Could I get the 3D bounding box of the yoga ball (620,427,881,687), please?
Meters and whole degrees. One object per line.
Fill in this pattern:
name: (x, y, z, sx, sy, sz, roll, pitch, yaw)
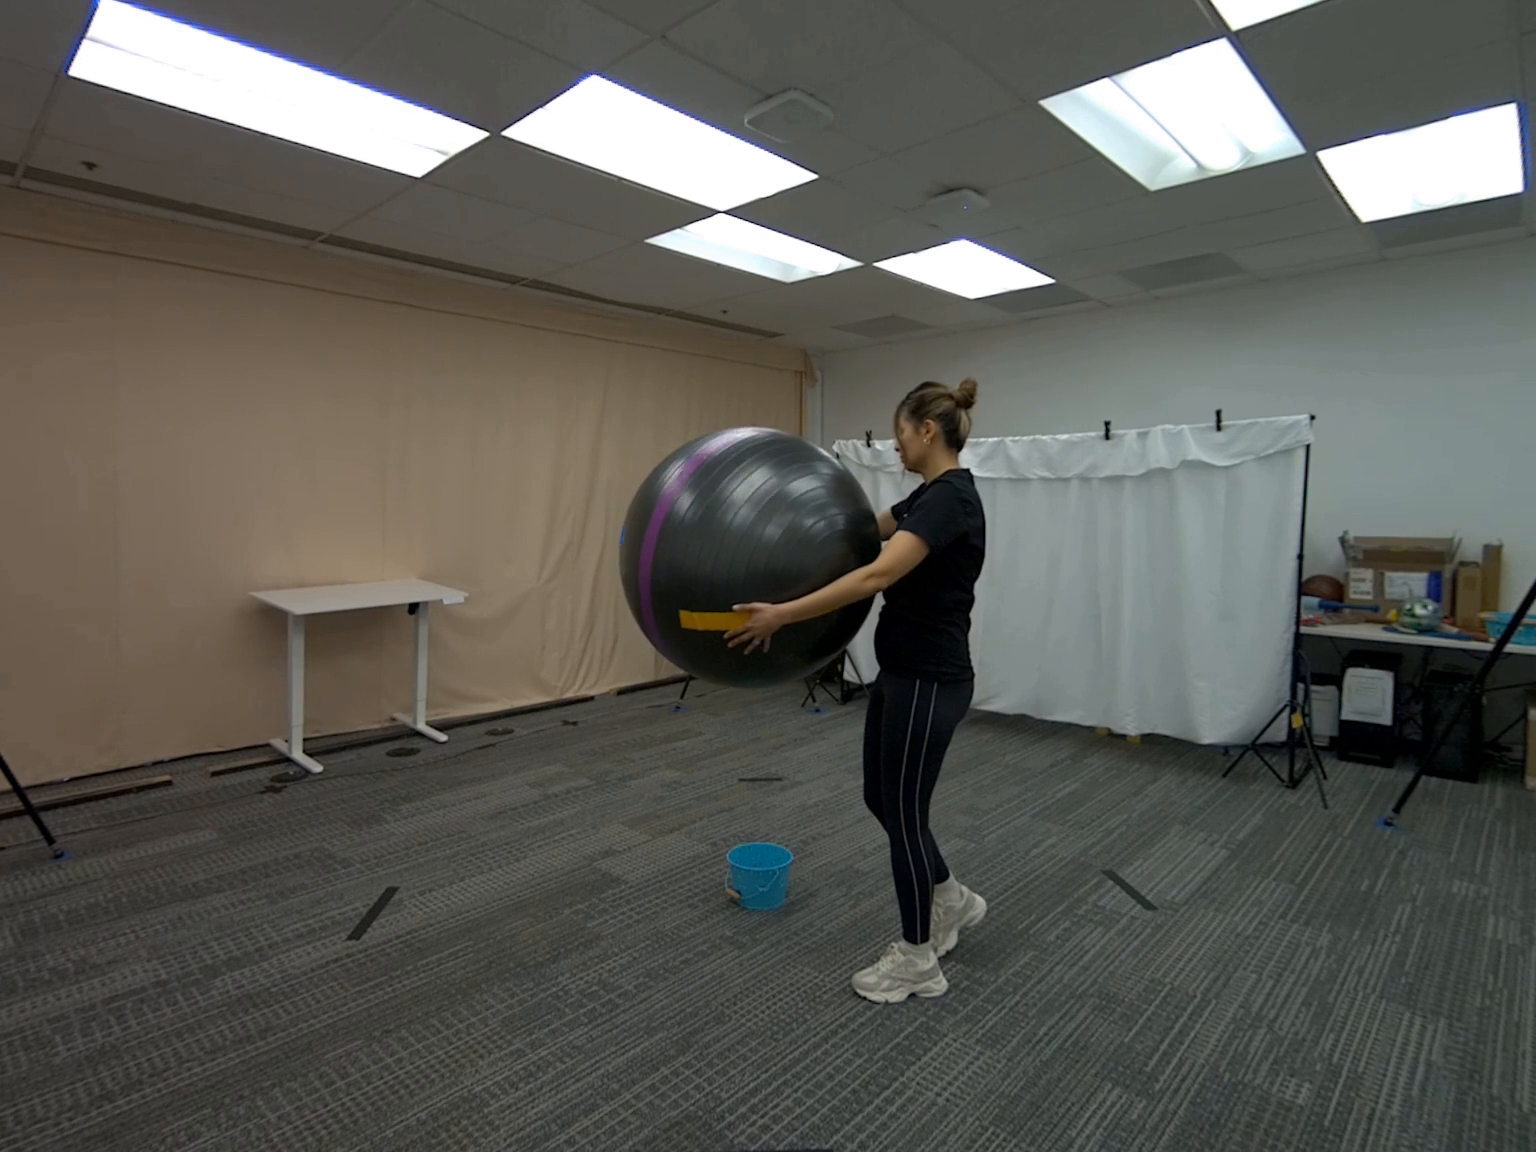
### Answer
yoga ball: (-0.044, -0.044, 2.446, 0.757, 0.756, 0.761, 0, 4, -2)
